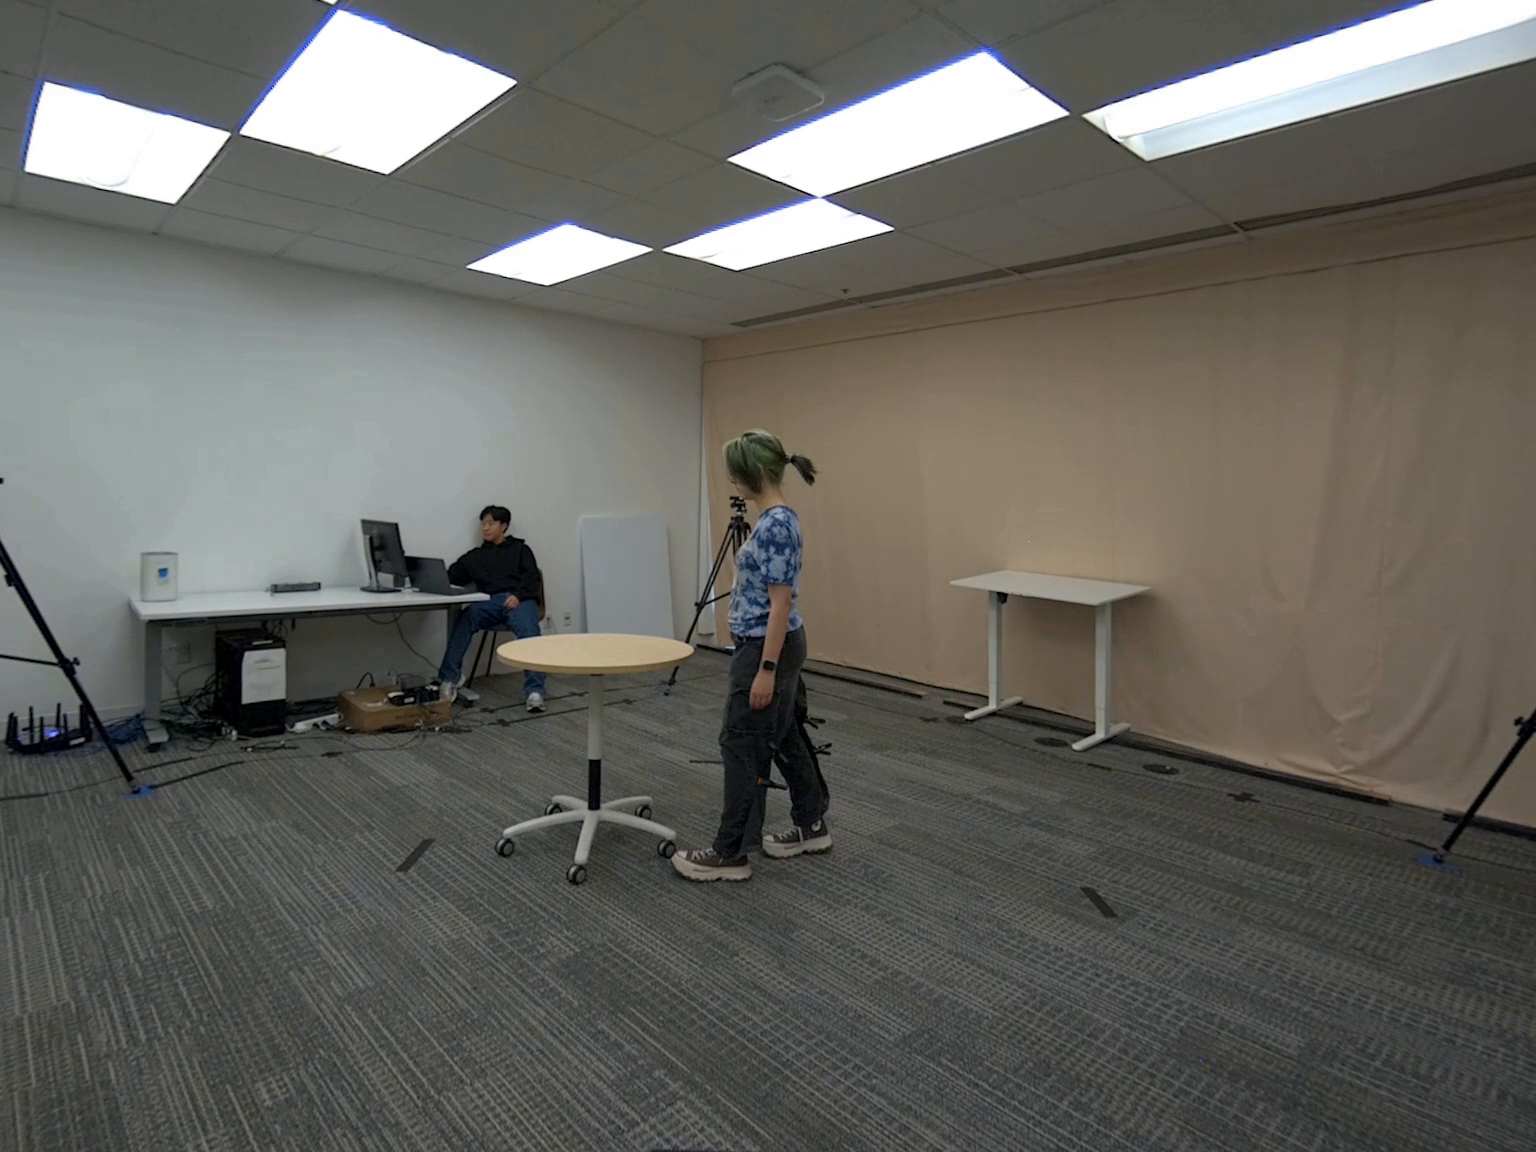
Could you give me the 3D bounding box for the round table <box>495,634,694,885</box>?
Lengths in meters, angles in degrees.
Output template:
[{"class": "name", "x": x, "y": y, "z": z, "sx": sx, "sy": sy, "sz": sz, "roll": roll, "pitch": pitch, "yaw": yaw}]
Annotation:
[{"class": "round table", "x": -0.680, "y": 0.675, "z": 3.352, "sx": 0.784, "sy": 0.784, "sz": 0.788, "roll": 2, "pitch": 4, "yaw": -1}]
